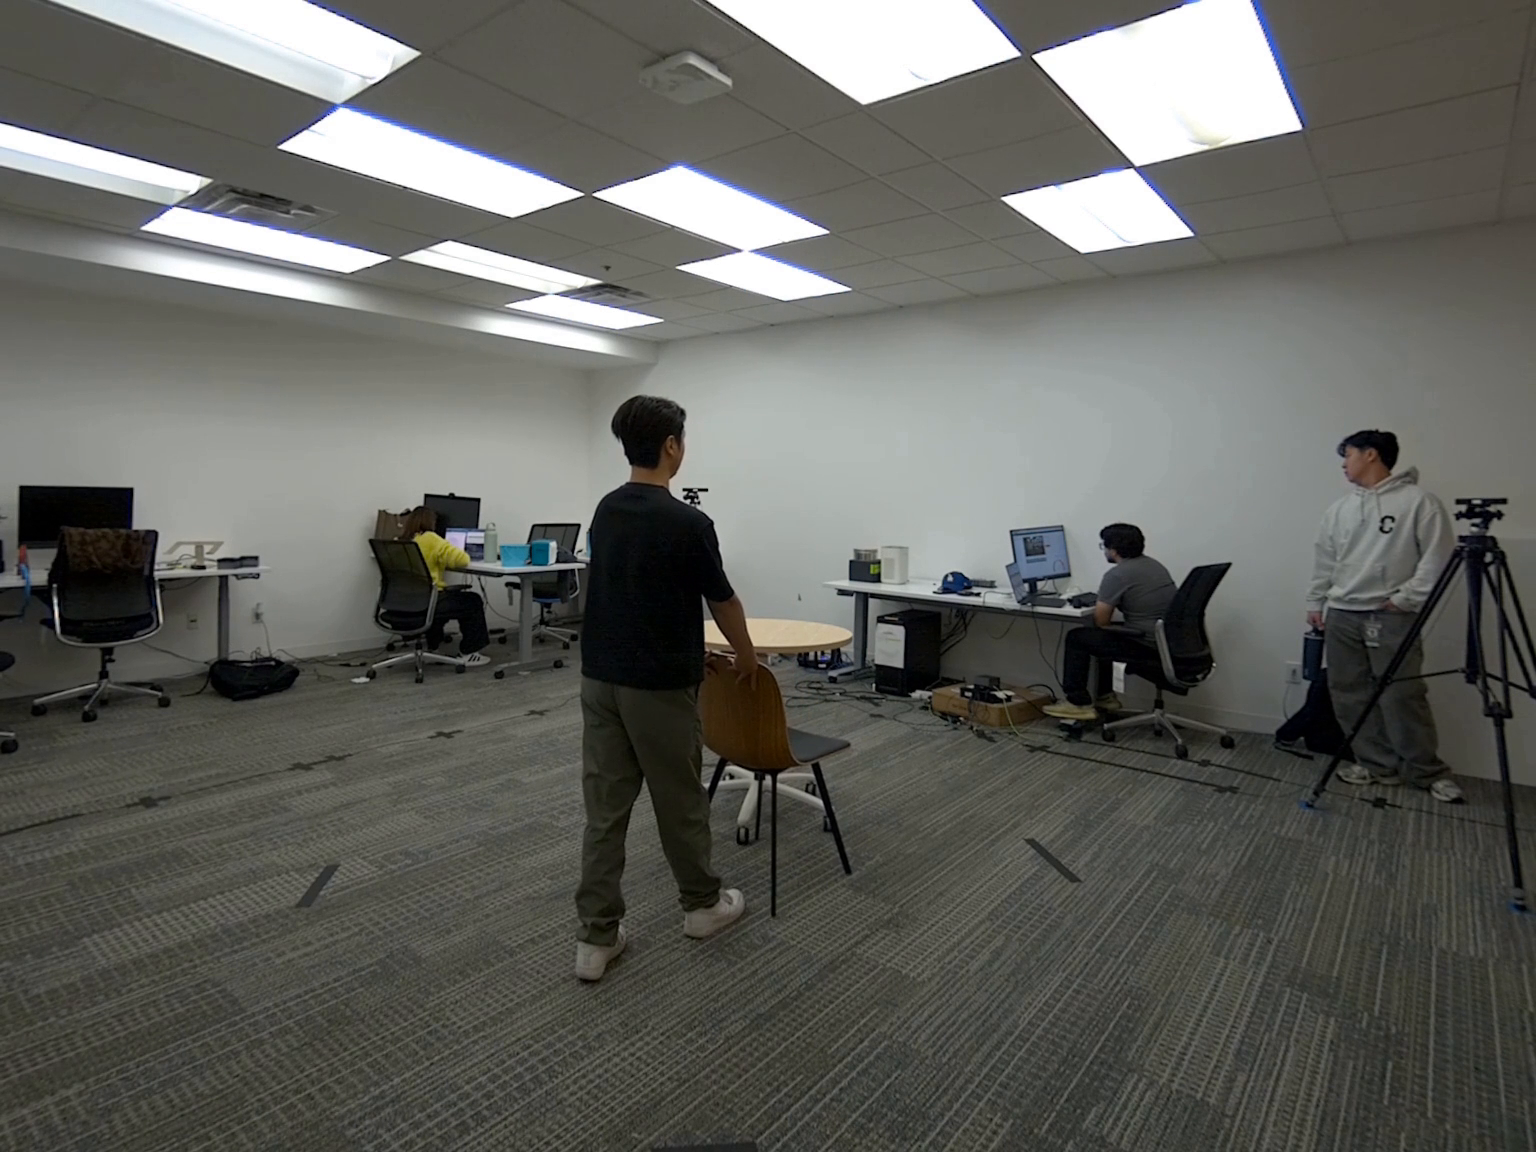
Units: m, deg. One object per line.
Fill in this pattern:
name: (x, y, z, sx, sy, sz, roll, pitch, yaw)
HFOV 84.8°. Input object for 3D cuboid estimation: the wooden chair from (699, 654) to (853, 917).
wooden chair: (-0.008, 0.648, 3.059, 0.494, 0.872, 0.509, 4, 9, 40)
